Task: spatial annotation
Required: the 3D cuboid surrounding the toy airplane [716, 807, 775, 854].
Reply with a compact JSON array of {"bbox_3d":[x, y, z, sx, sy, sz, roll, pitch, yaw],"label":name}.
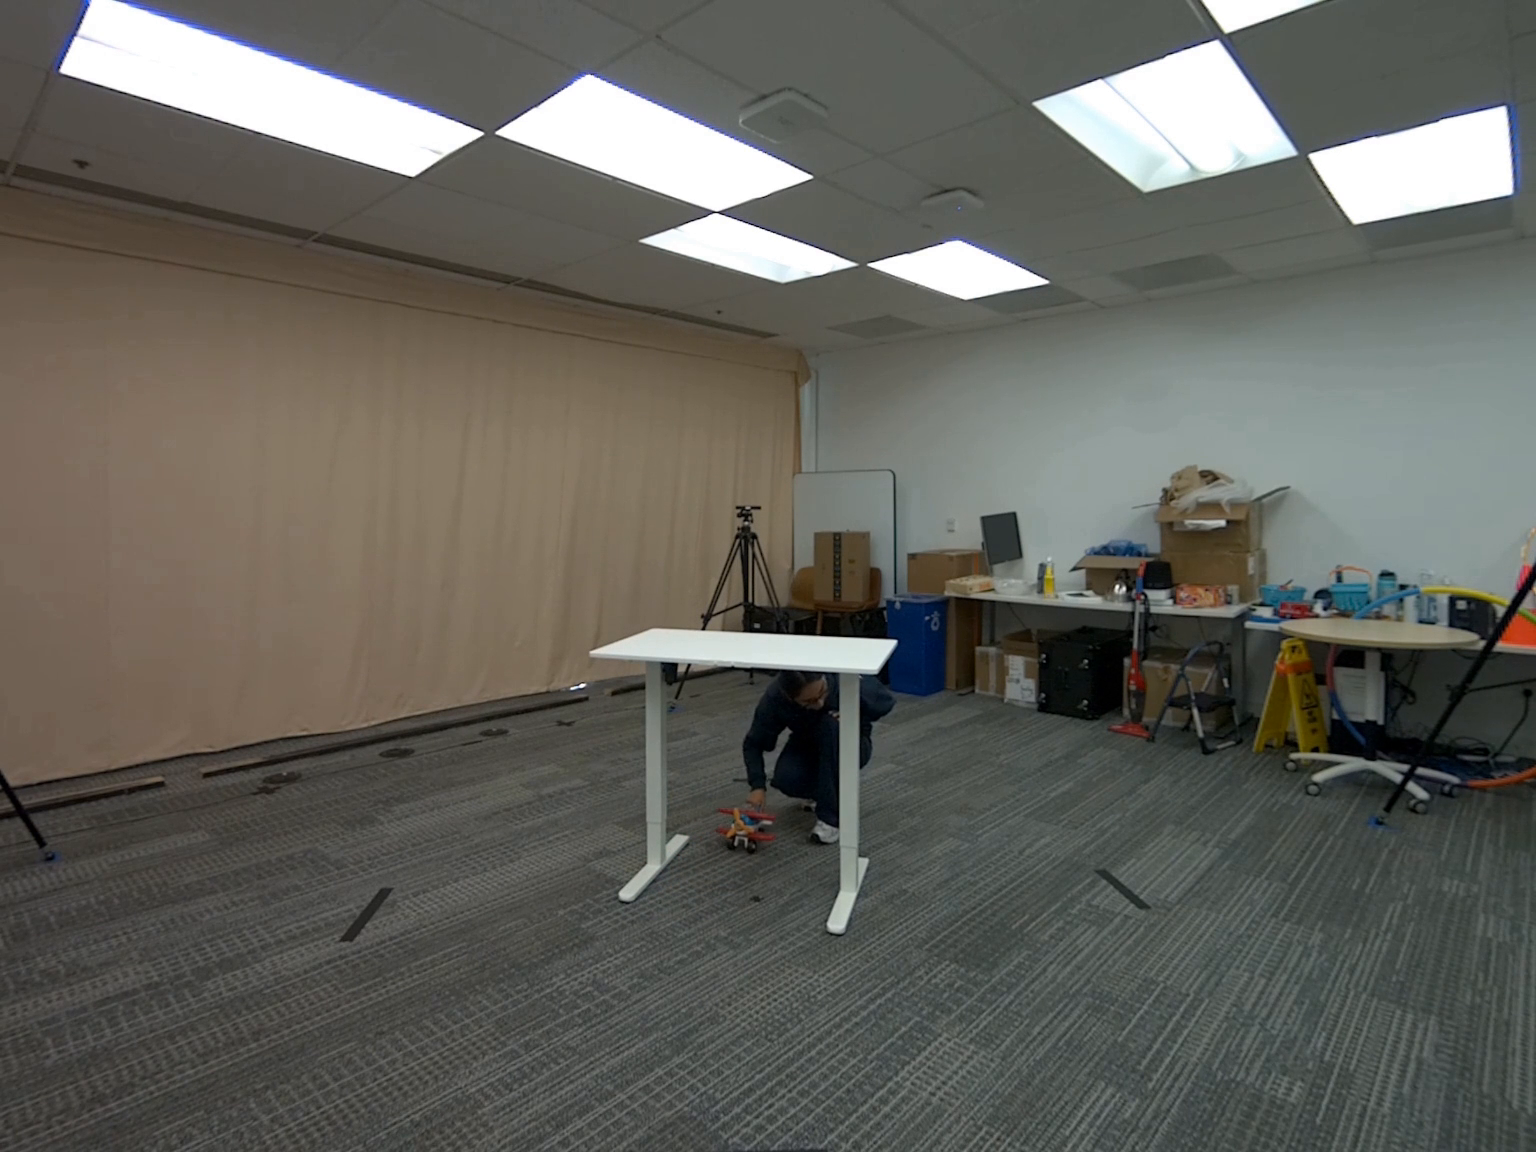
[{"bbox_3d":[-0.077,1.024,3.468,0.249,0.156,0.262,0,5,-7],"label":"toy airplane"}]
